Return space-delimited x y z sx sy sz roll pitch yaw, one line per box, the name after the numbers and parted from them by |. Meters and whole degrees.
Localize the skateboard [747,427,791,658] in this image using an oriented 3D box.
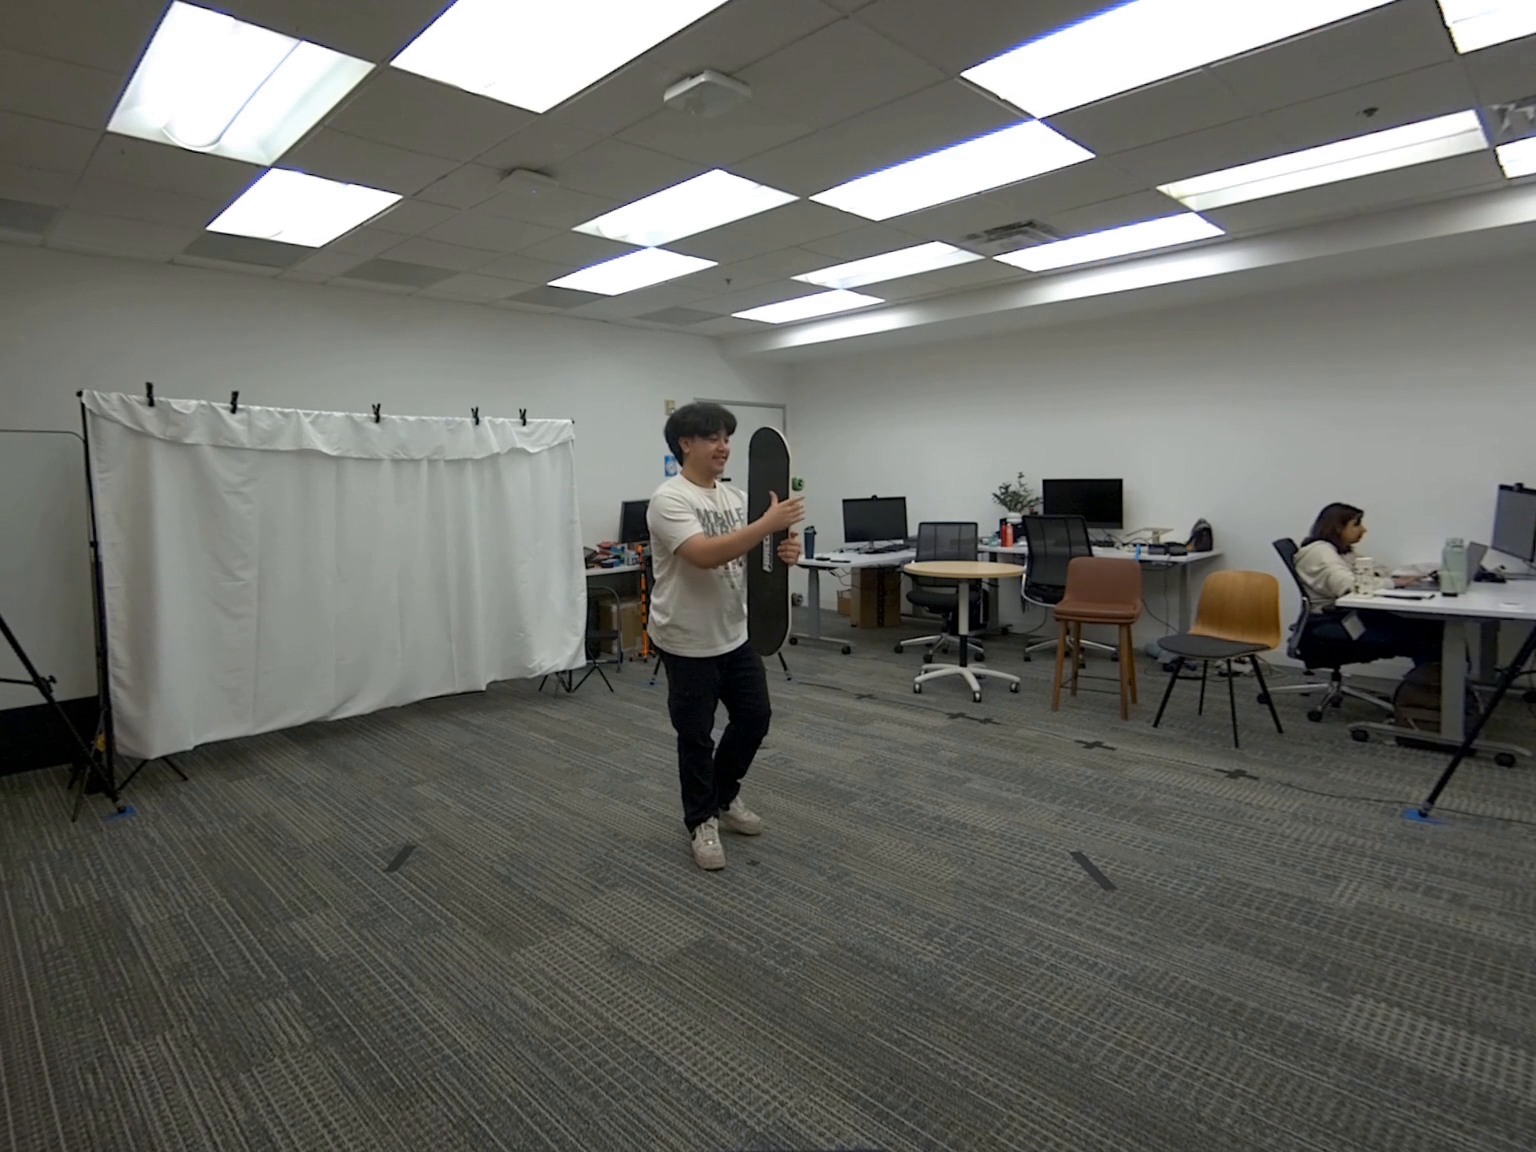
0.023 -0.121 2.968 0.199 0.786 0.107 0 -1 43 | skateboard
